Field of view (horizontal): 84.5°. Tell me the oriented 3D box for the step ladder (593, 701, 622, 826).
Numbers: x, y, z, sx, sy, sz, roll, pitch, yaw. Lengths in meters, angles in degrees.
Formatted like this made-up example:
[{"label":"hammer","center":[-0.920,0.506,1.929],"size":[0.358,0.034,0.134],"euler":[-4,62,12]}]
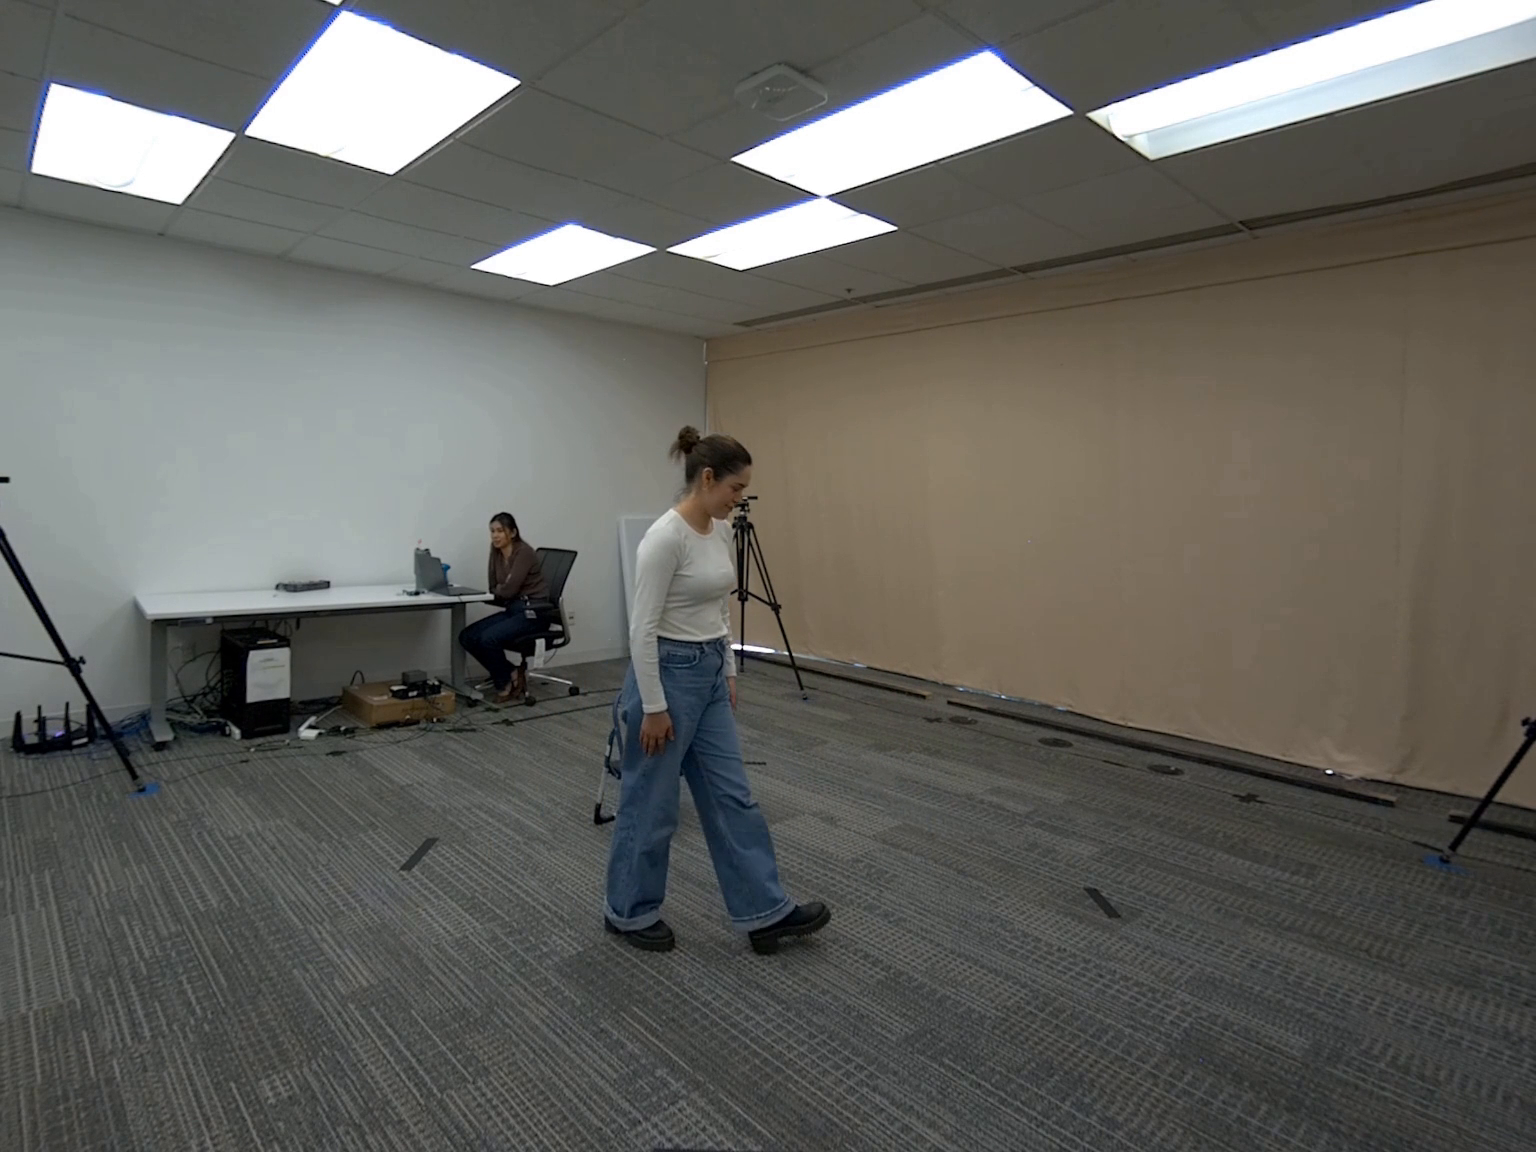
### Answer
[{"label":"step ladder","center":[-0.469,0.758,3.553],"size":[0.420,0.605,0.358],"euler":[-1,4,-44]}]
